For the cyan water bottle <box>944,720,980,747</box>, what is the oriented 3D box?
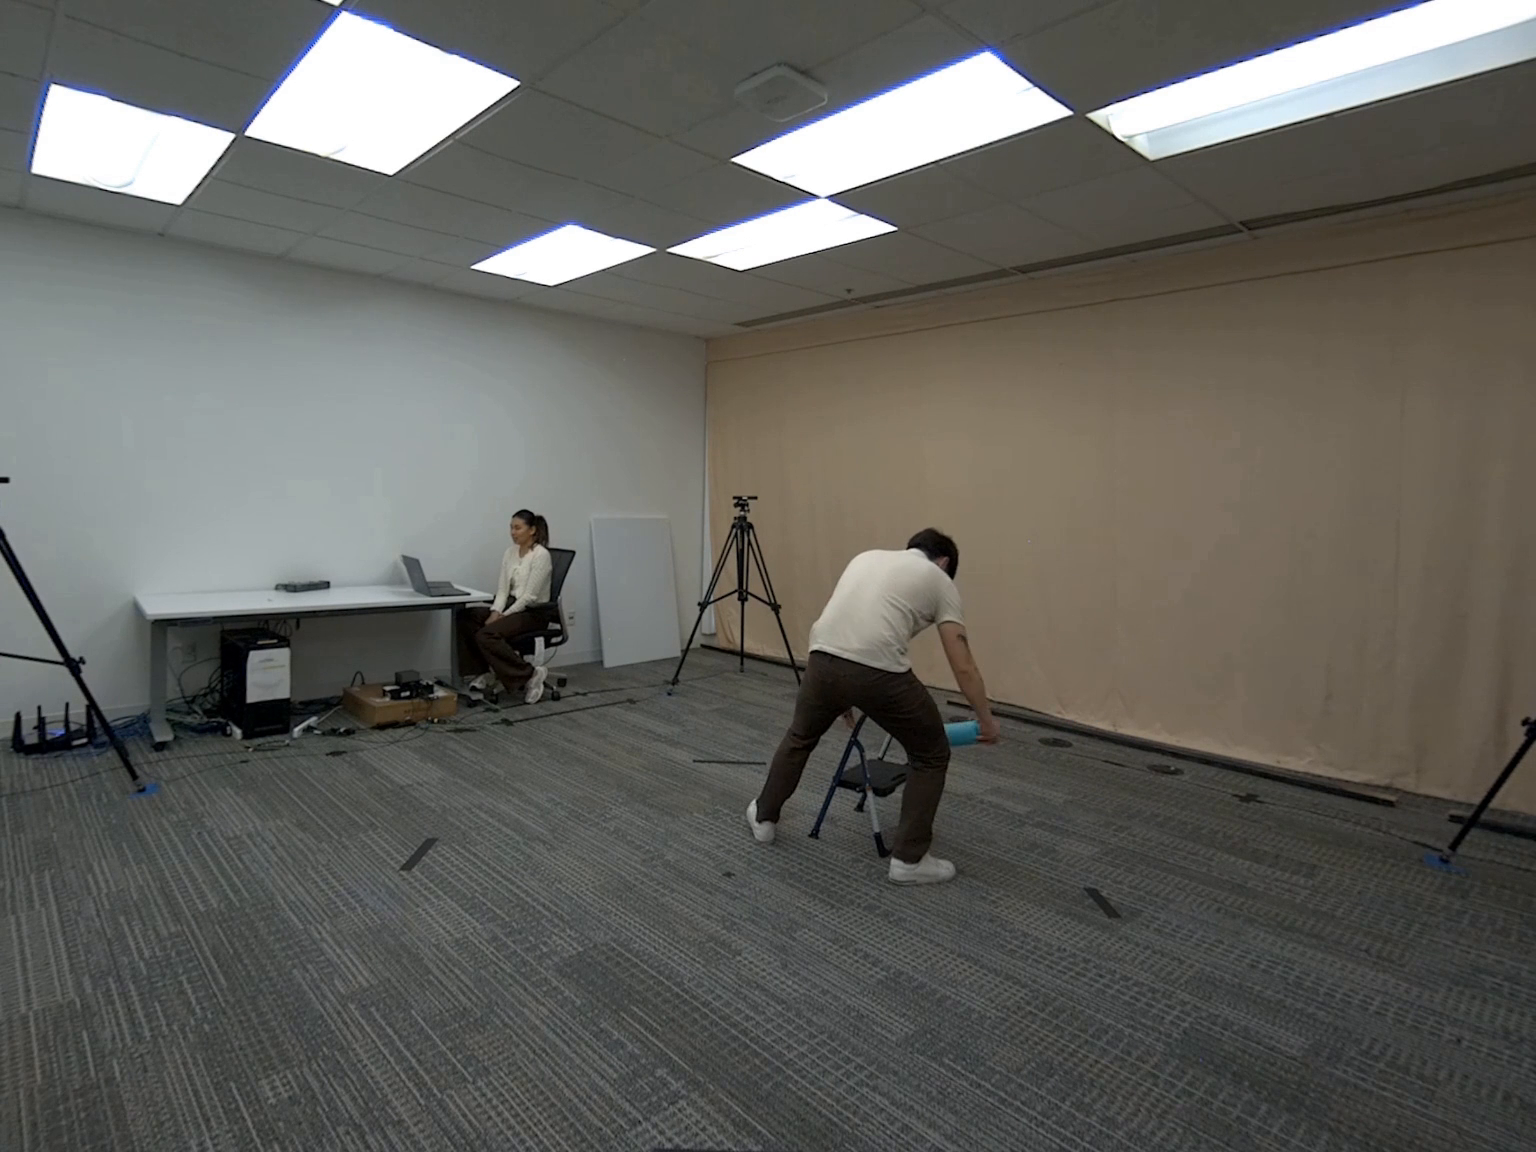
[{"bbox_3d":[0.744,0.616,3.298,0.287,0.093,0.090,-18,-7,33],"label":"cyan water bottle"}]
